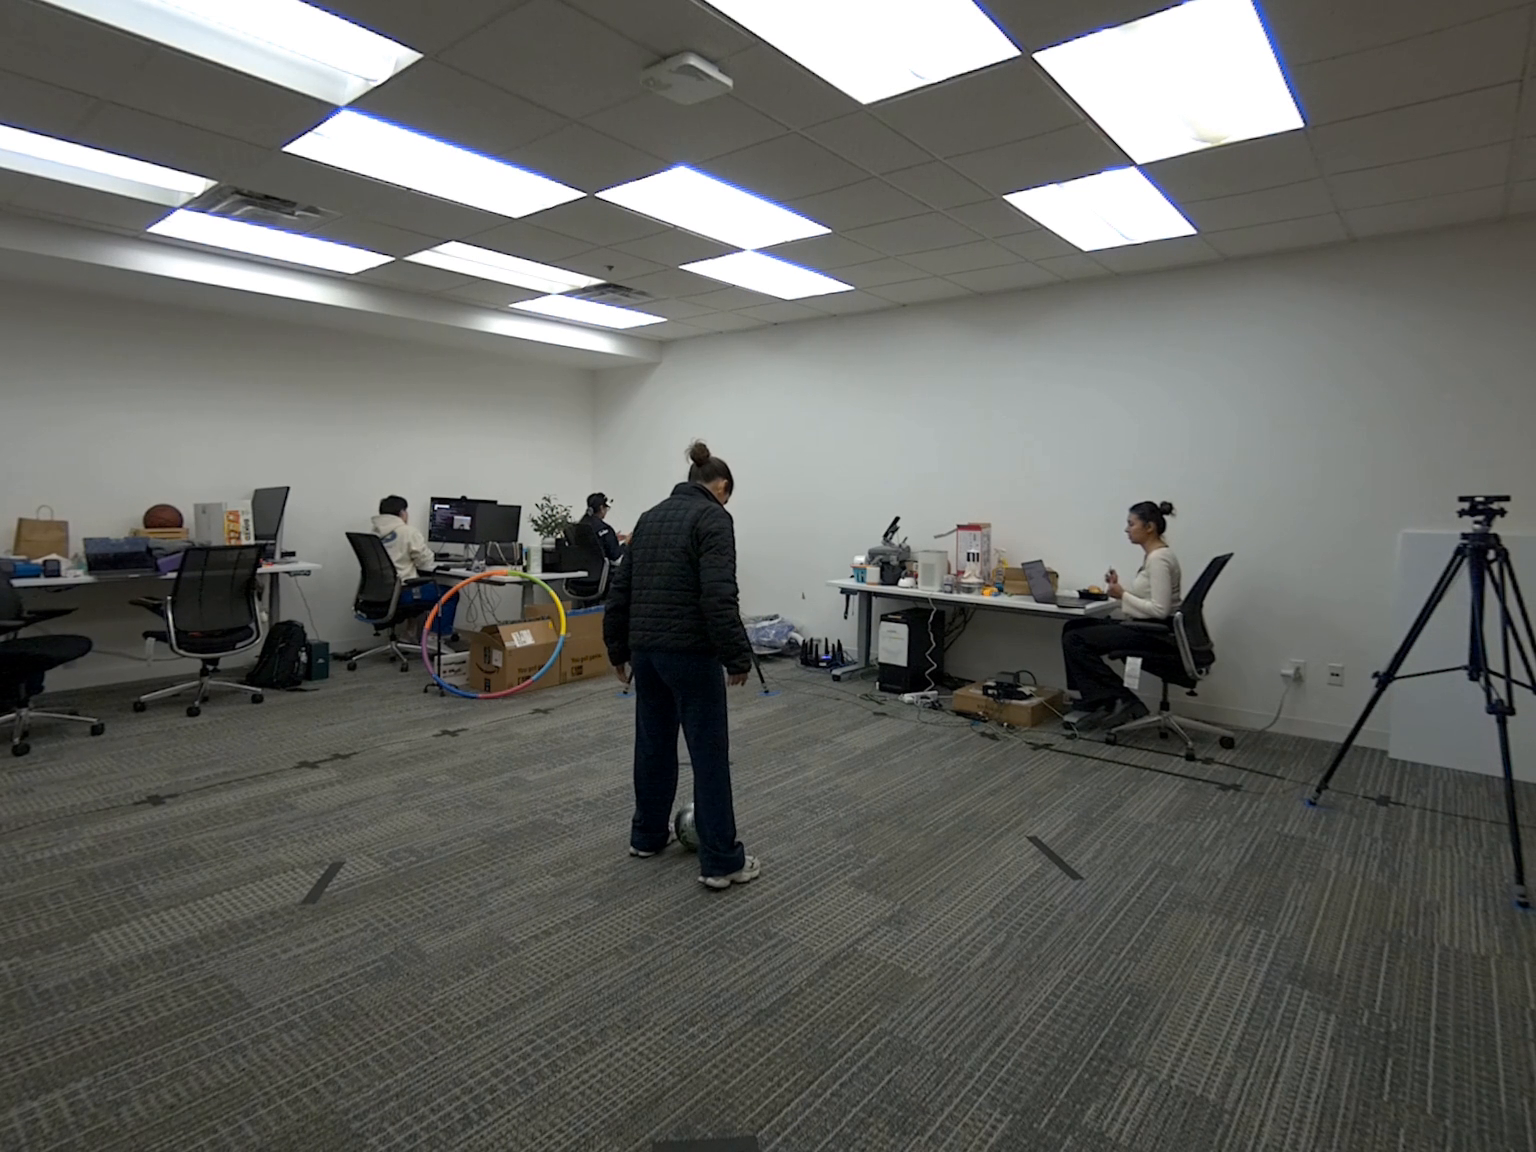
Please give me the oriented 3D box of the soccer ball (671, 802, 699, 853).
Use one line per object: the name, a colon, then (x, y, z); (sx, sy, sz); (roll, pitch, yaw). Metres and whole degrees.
soccer ball: (-0.277, 0.956, 3.264); (0.187, 0.187, 0.188); (1, 4, -2)
